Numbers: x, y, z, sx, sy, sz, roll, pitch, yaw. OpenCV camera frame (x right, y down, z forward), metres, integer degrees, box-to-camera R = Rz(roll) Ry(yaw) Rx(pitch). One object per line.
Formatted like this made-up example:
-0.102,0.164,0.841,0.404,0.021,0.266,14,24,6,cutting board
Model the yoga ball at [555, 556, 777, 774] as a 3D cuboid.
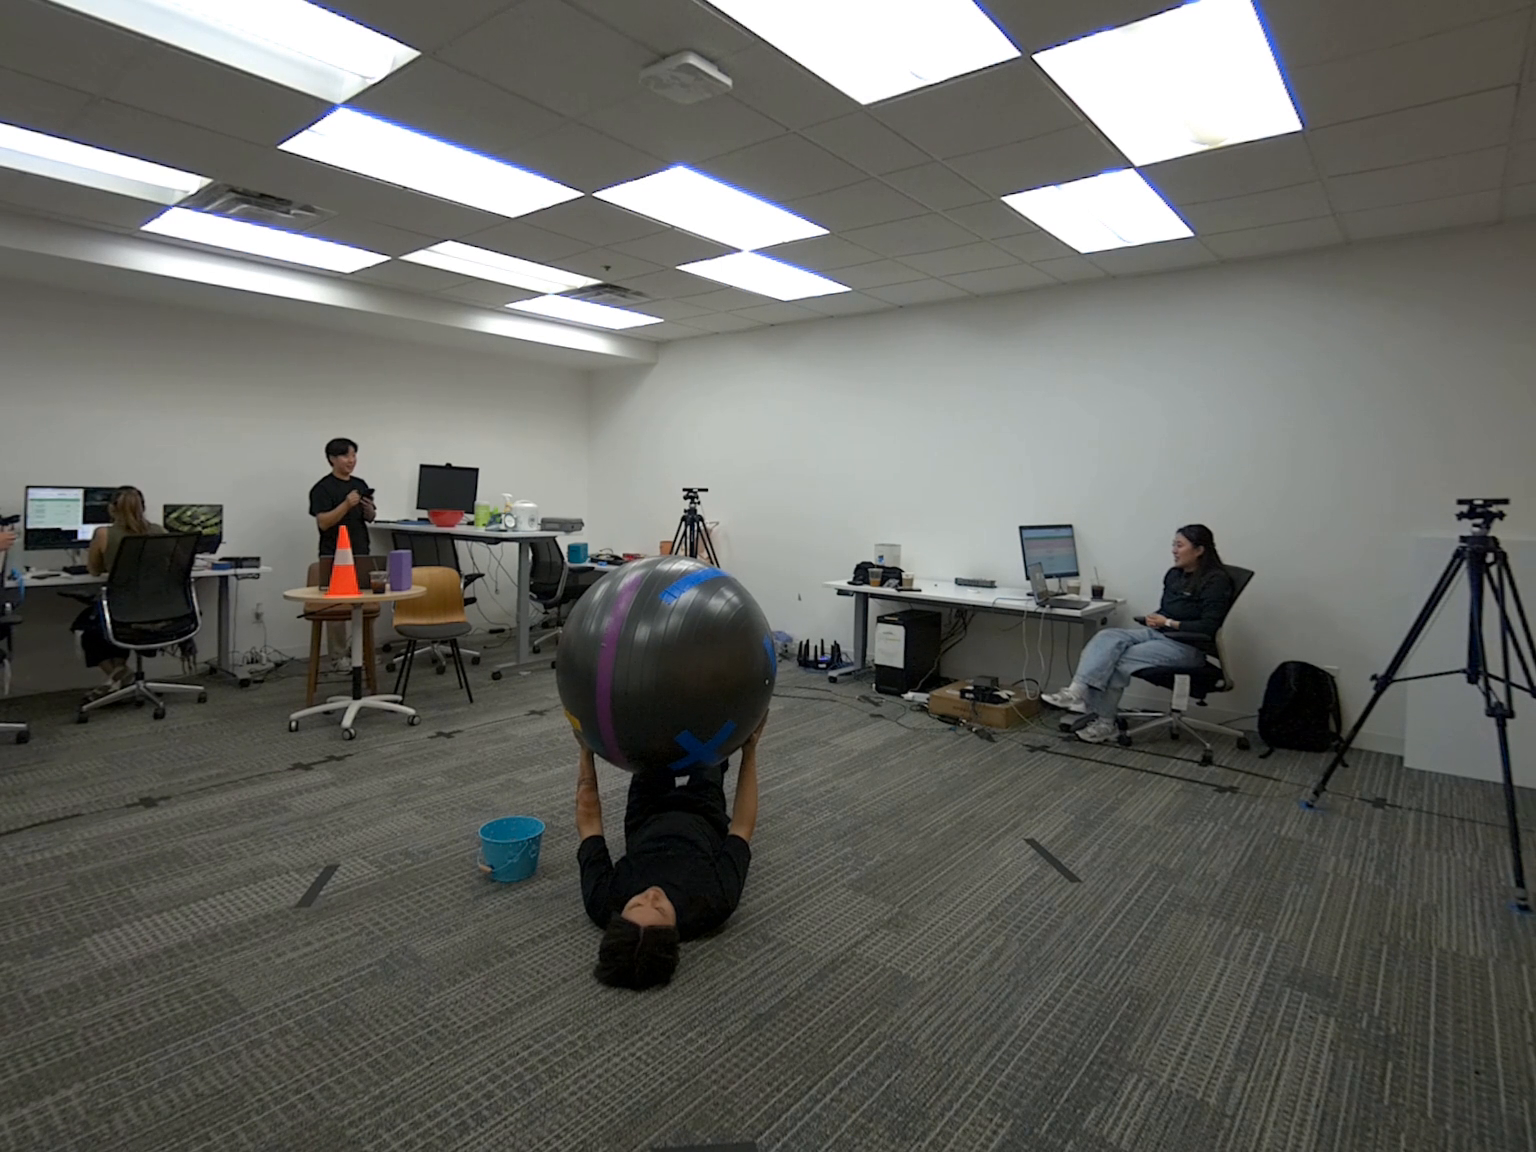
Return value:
-0.358,0.310,2.948,0.757,0.755,0.762,1,4,-2,yoga ball
